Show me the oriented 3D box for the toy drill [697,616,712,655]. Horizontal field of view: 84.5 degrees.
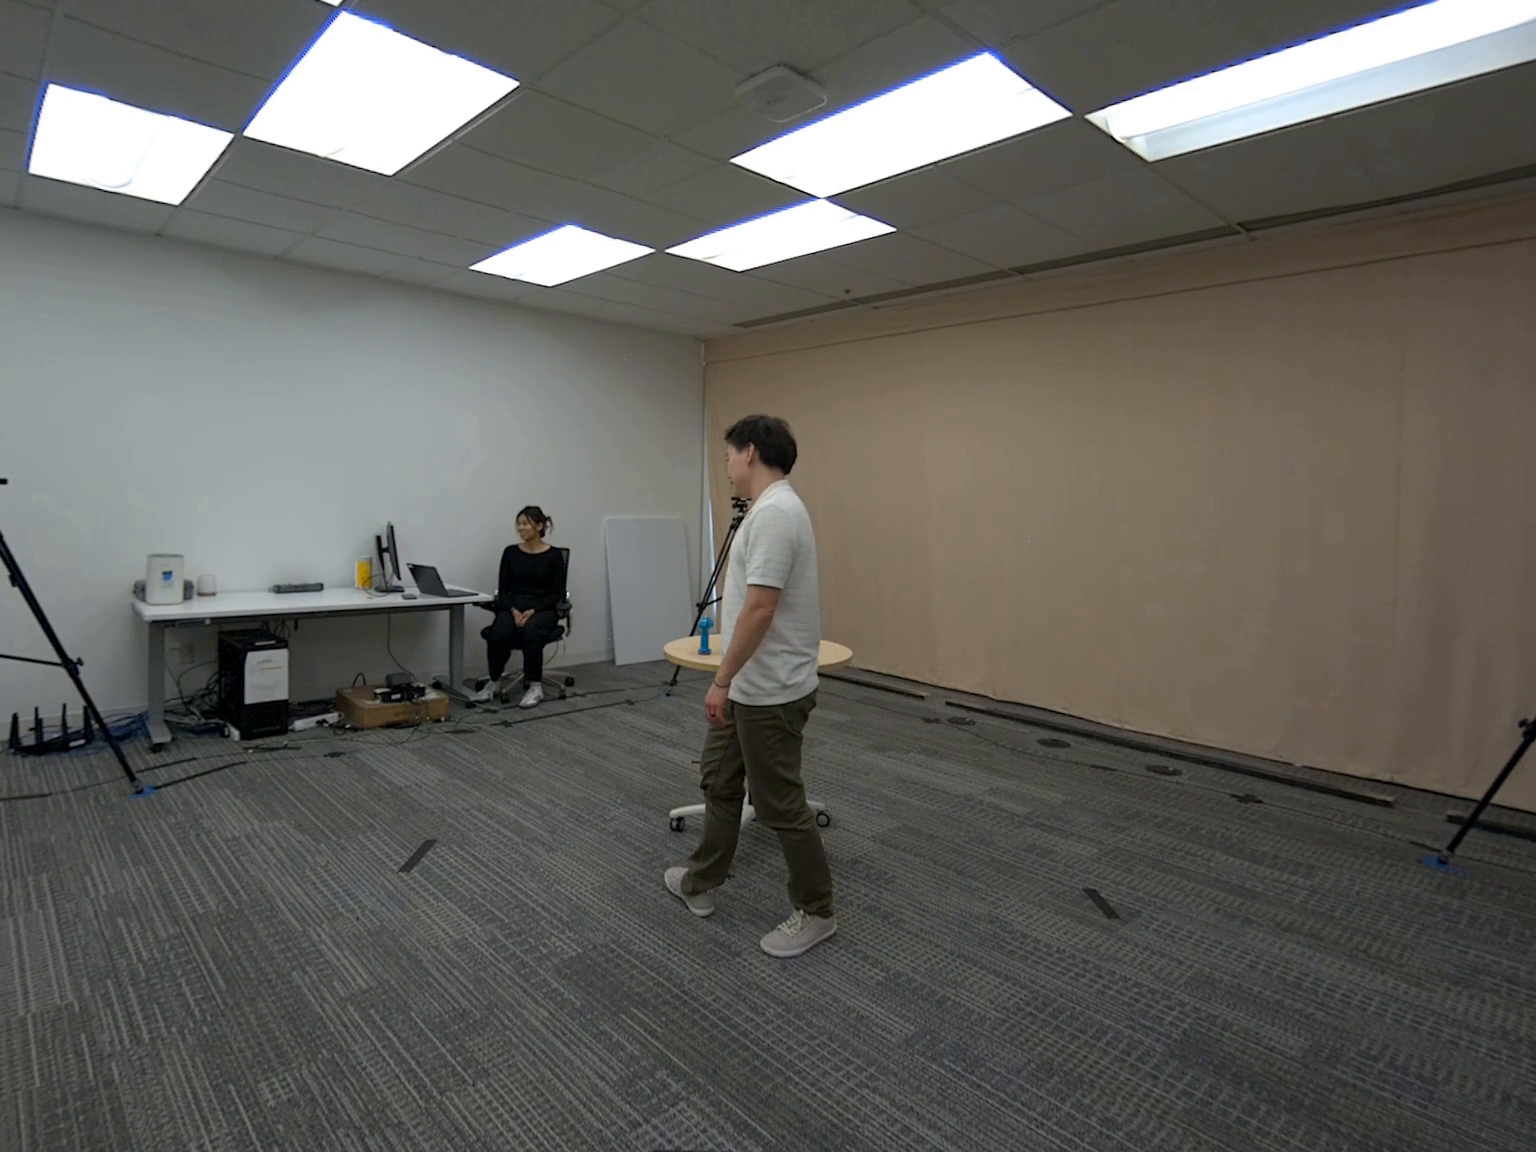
[{"bbox_3d":[-0.250,0.228,3.335,0.061,0.146,0.170,0,4,0],"label":"toy drill"}]
